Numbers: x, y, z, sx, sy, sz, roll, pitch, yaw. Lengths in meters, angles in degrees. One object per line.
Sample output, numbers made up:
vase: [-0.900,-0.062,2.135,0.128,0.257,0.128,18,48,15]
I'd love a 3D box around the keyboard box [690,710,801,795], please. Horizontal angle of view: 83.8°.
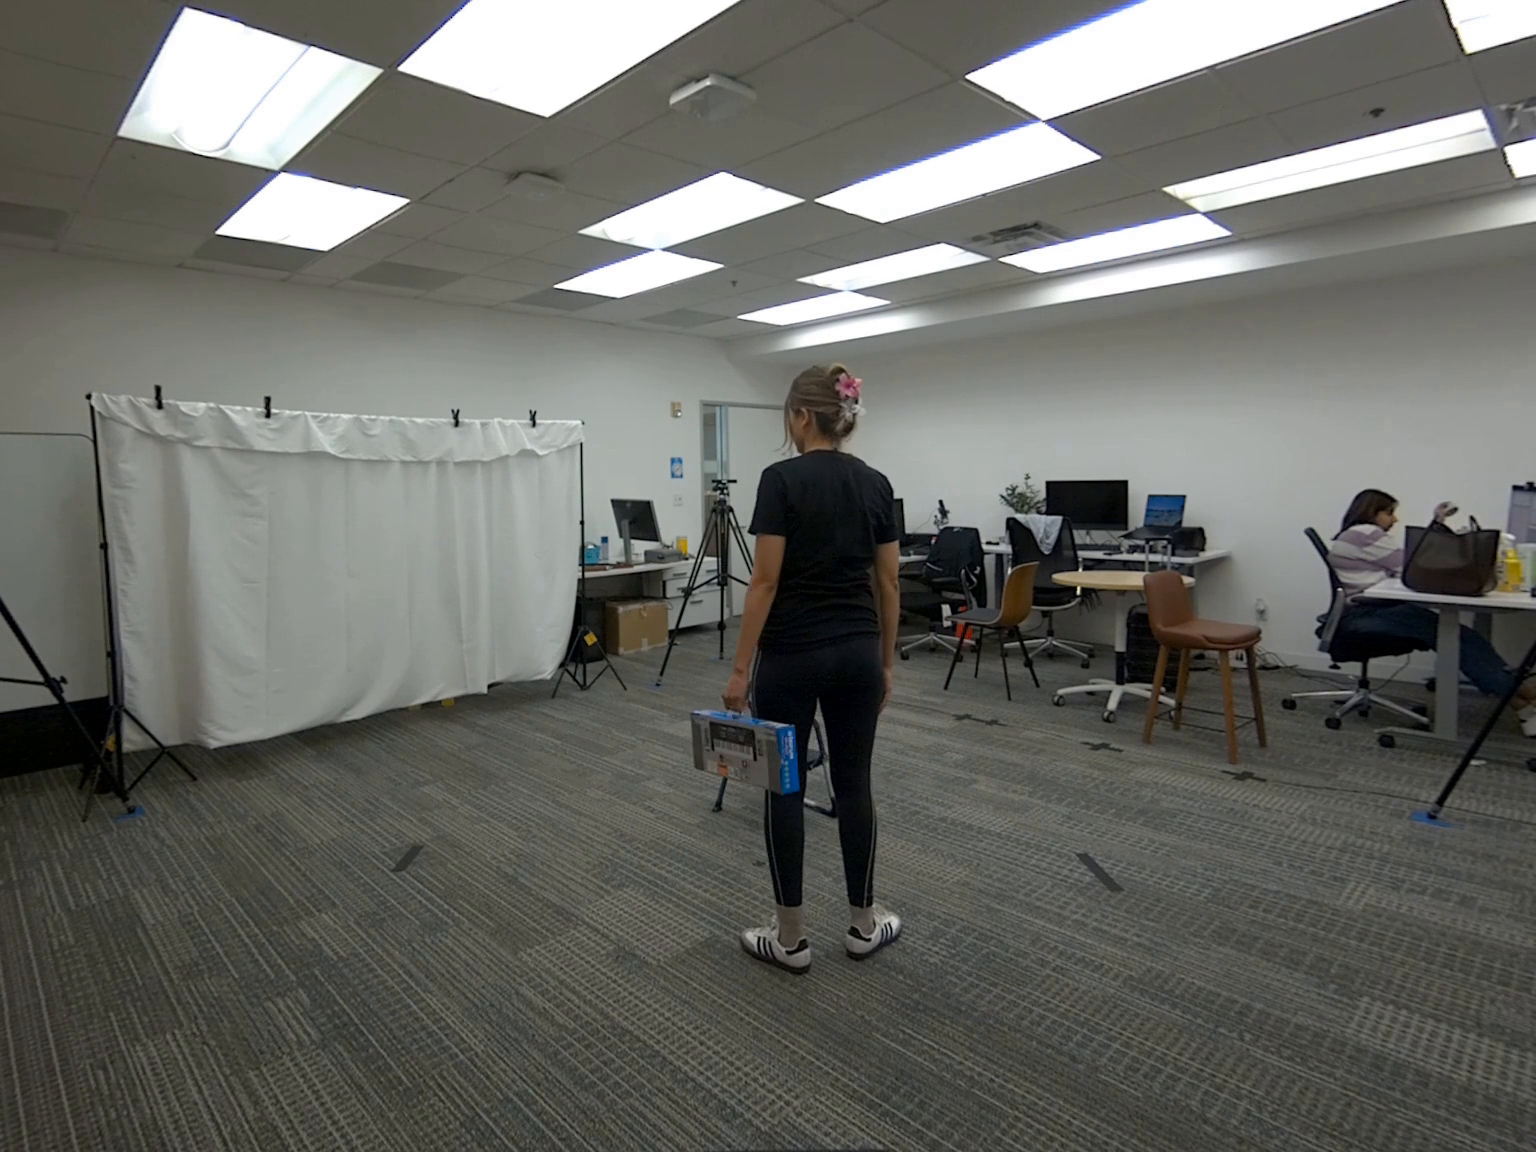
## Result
keyboard box: [-0.071,0.490,2.418,0.057,0.176,0.447,-2,-1,-35]
